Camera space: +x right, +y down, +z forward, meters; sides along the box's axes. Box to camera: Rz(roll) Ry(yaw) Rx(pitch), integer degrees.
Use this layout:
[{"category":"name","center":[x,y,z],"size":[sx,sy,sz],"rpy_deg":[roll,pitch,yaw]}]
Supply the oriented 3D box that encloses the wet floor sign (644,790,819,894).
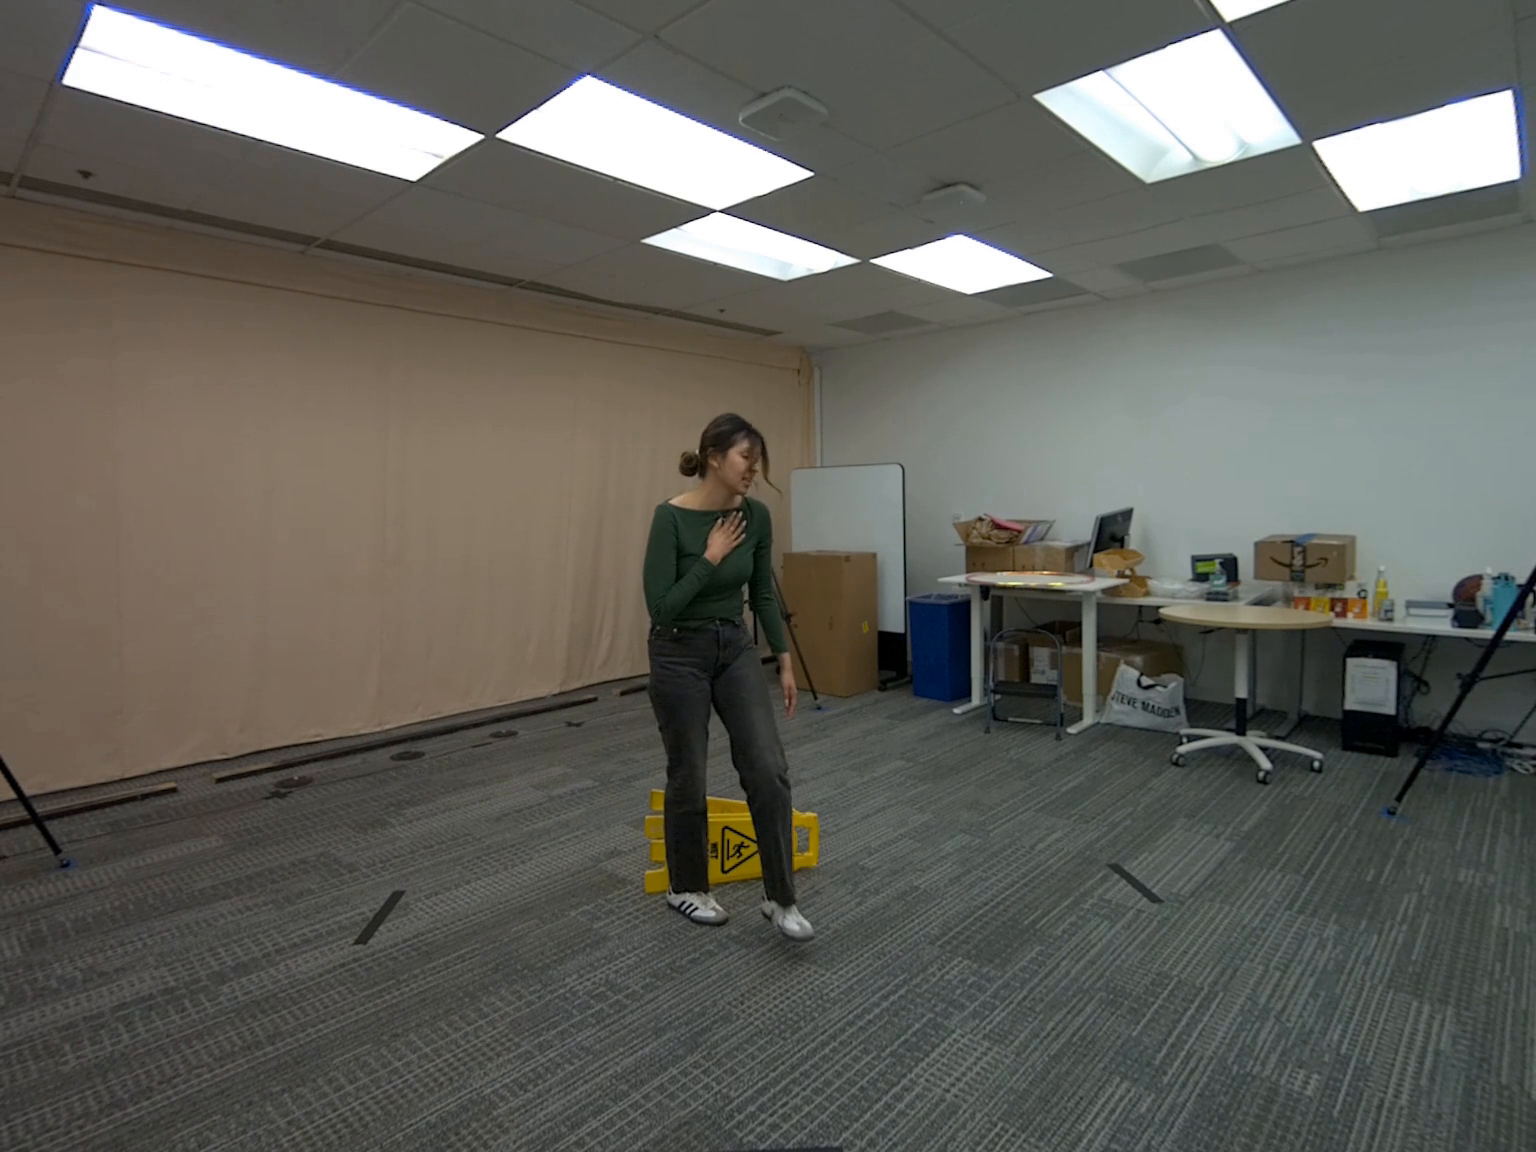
[{"category":"wet floor sign","center":[-0.126,0.992,3.182],"size":[0.645,0.282,0.291],"rpy_deg":[1,3,-2]}]
